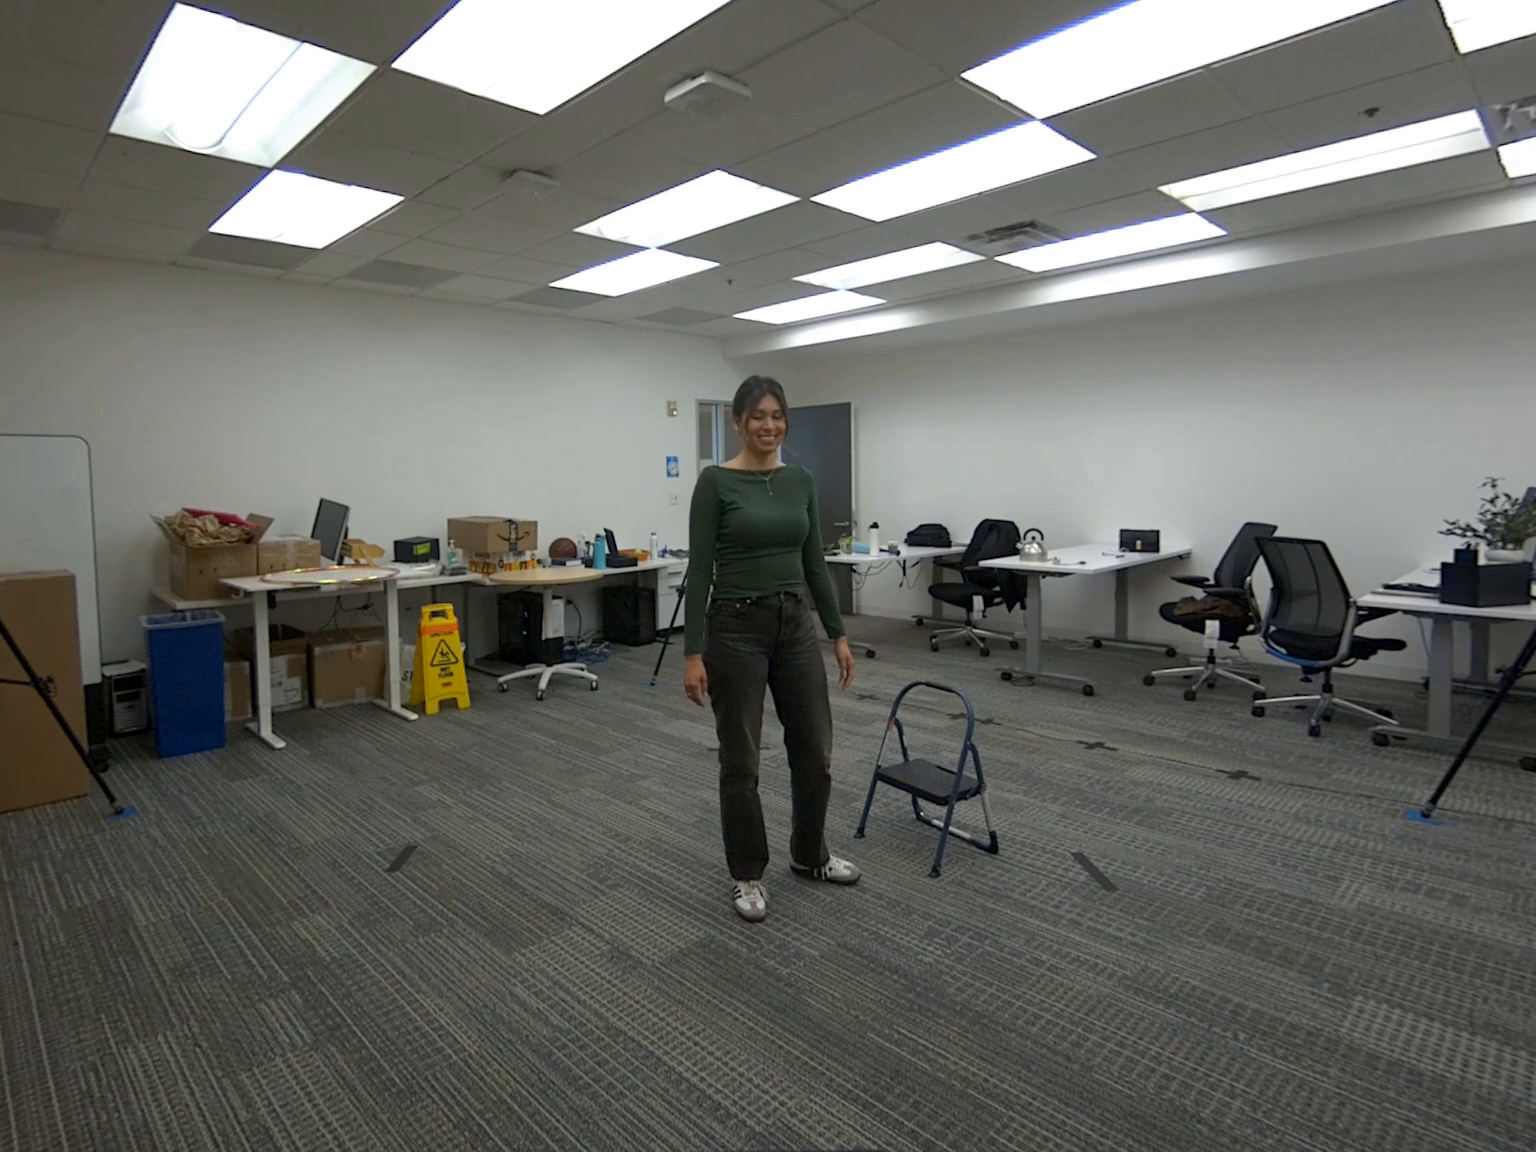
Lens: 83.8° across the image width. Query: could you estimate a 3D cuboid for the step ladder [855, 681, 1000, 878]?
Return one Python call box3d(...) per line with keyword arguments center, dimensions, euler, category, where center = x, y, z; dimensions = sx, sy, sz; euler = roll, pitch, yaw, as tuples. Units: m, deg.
box3d(center=(0.594, 0.717, 3.217), dimensions=(0.340, 0.604, 0.443), euler=(-3, 5, -34), category="step ladder")
